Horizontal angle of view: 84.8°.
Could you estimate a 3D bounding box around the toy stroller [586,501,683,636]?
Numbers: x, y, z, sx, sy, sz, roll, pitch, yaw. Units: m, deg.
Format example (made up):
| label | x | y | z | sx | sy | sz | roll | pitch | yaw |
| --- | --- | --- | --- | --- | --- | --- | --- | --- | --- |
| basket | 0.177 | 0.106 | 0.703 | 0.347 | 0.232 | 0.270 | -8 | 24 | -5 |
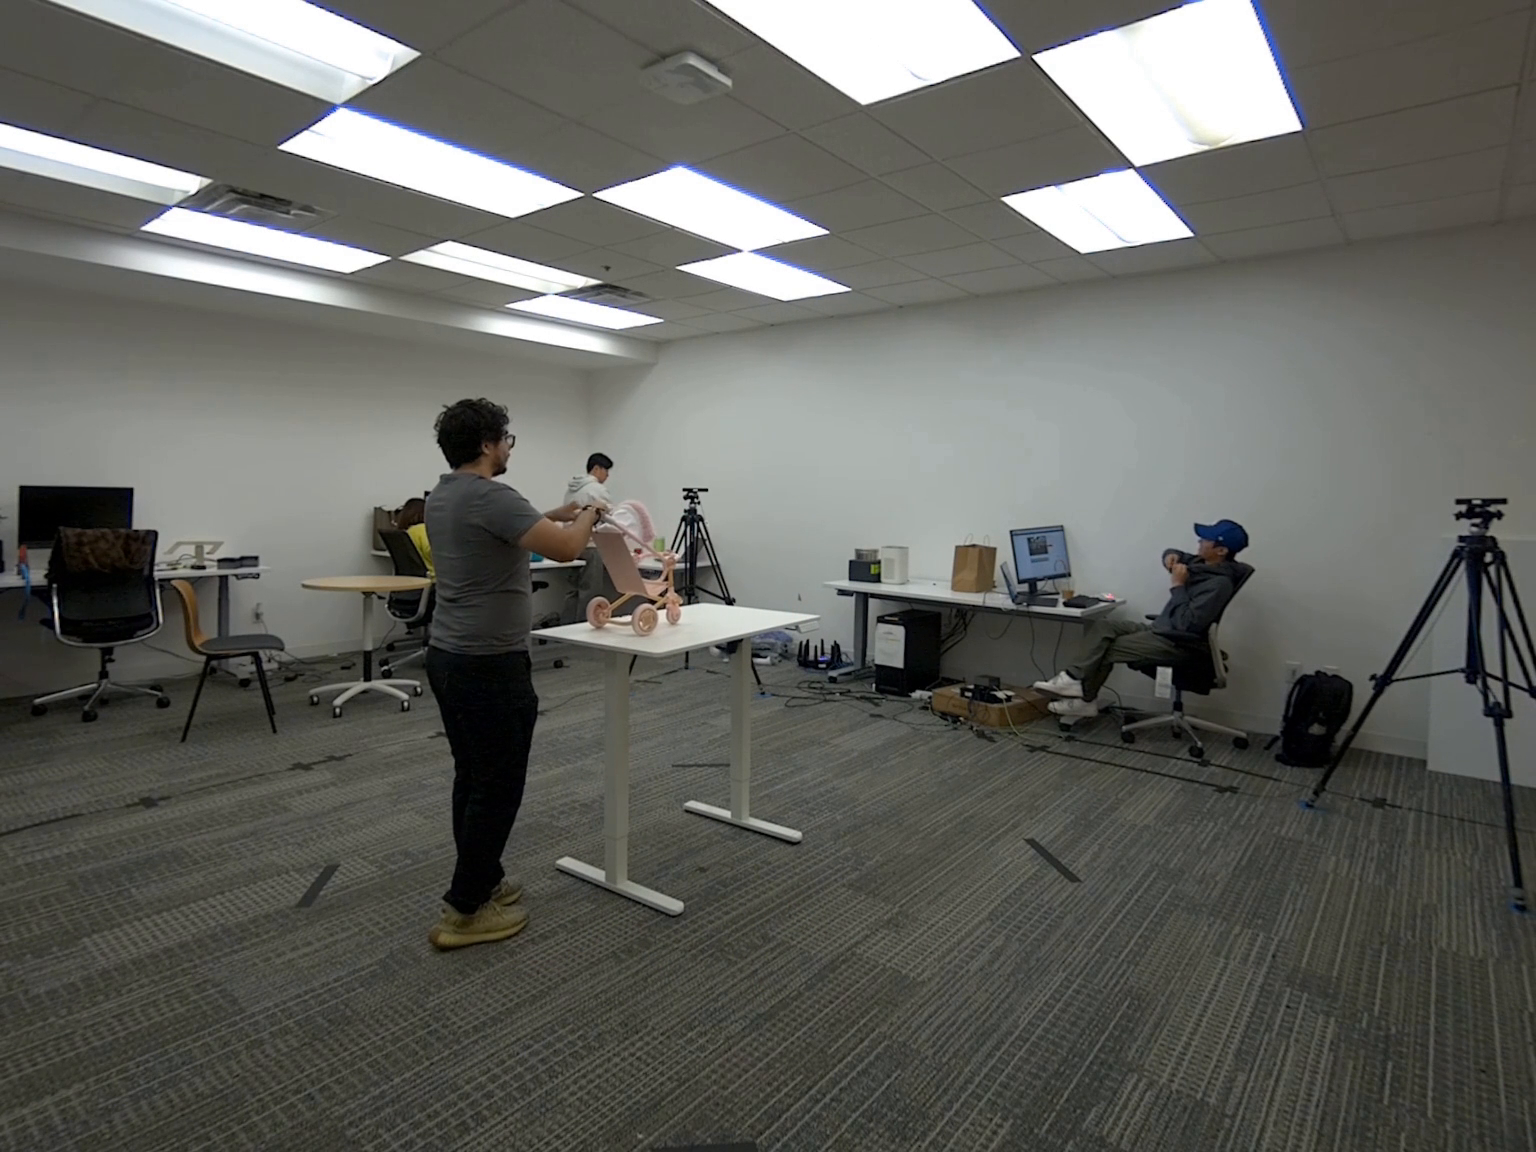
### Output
| label | x | y | z | sx | sy | sz | roll | pitch | yaw |
| --- | --- | --- | --- | --- | --- | --- | --- | --- | --- |
| toy stroller | -0.487 | -0.034 | 3.036 | 0.291 | 0.527 | 0.335 | 4 | 20 | 45 |
